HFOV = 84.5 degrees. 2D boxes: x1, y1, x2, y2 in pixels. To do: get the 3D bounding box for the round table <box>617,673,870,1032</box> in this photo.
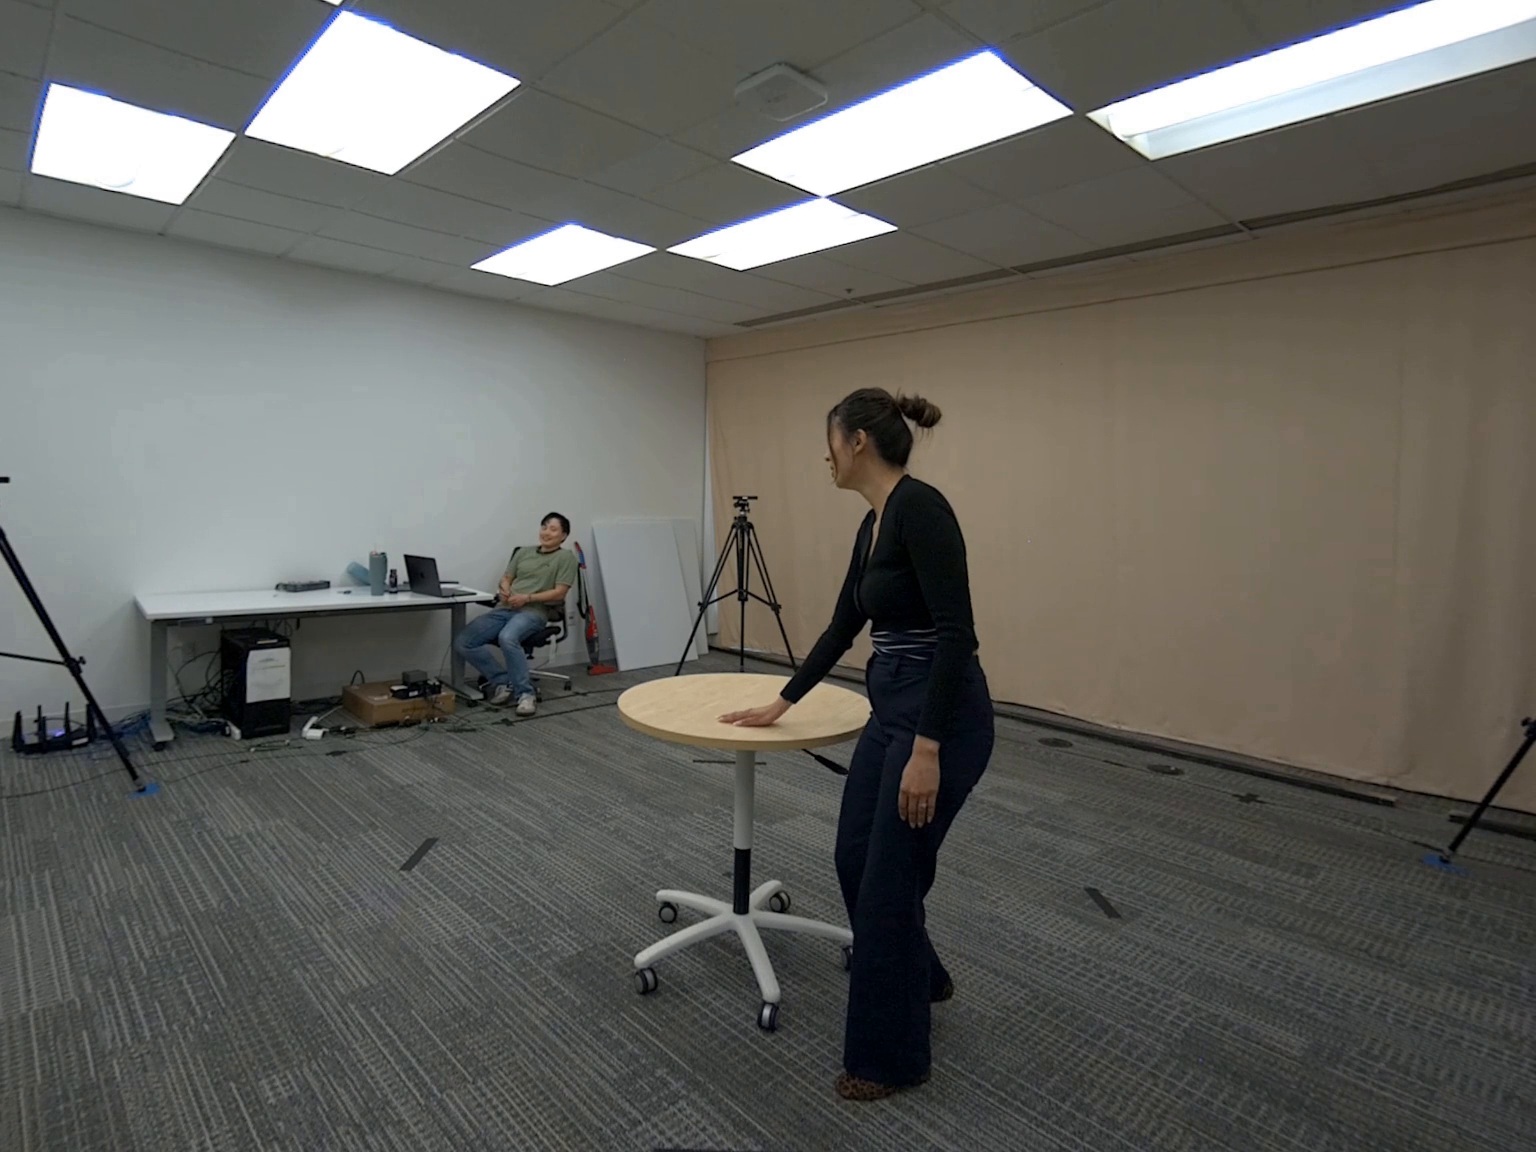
[{"bbox_3d":[-0.083,0.769,2.530,0.763,0.791,0.767,2,5,-1],"label":"round table"}]
